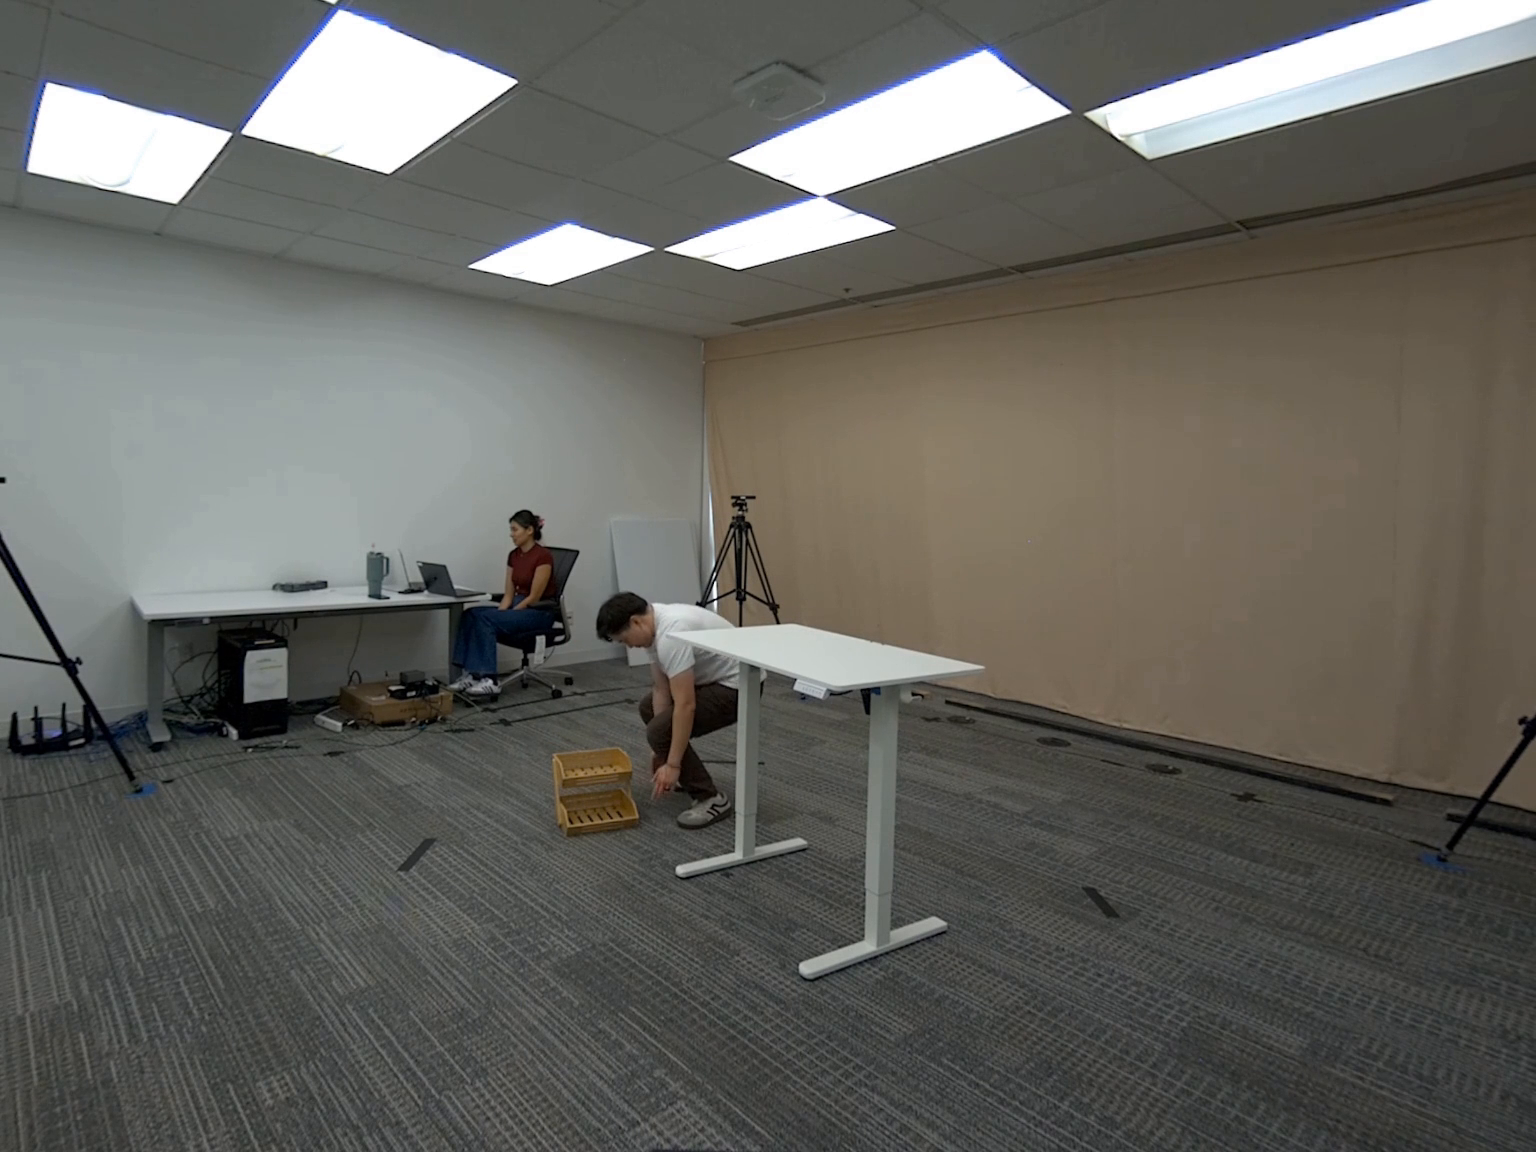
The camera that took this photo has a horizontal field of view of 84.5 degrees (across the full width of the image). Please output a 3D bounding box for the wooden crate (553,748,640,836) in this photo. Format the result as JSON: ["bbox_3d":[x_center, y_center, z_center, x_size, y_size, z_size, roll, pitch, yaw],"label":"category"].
[{"bbox_3d":[-0.743,0.909,3.584,0.318,0.273,0.308,0,4,-26],"label":"wooden crate"}]
